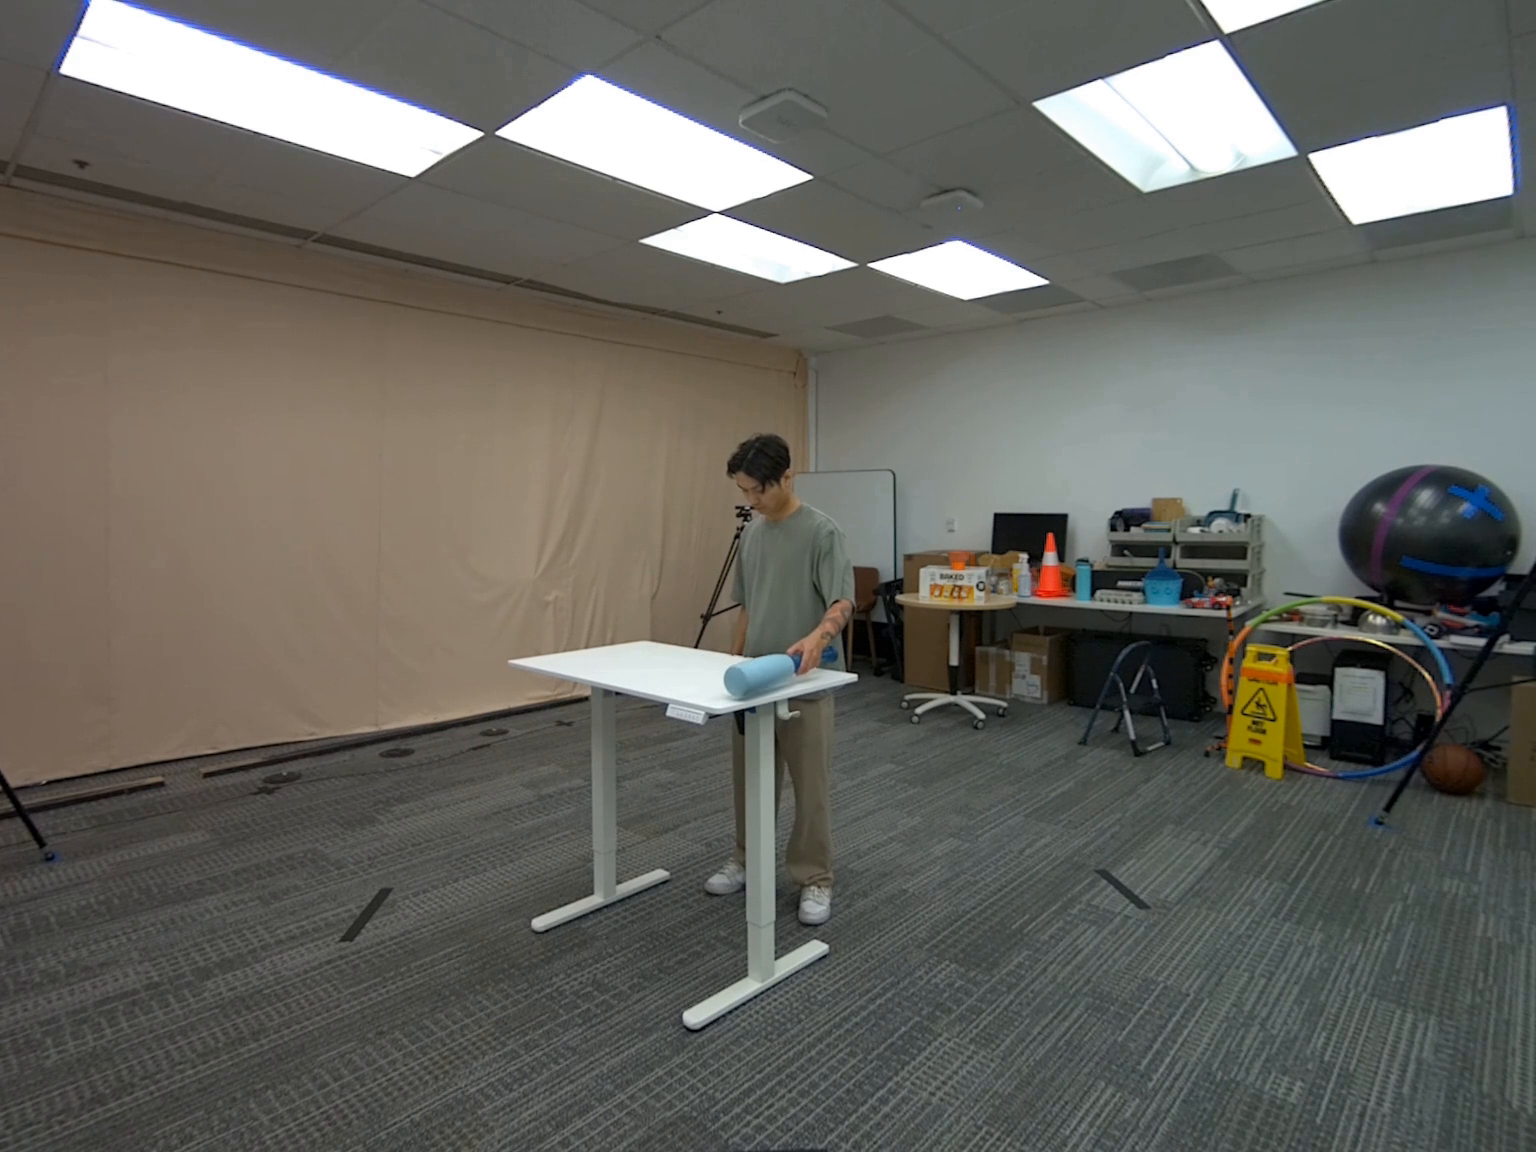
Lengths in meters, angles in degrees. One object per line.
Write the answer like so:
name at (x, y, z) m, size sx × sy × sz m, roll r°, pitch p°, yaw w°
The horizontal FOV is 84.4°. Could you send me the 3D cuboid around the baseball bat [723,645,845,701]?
baseball bat at (0.047, 0.258, 2.396) m, size 0.092 × 0.089 × 0.528 m, roll 2°, pitch 4°, yaw 32°
